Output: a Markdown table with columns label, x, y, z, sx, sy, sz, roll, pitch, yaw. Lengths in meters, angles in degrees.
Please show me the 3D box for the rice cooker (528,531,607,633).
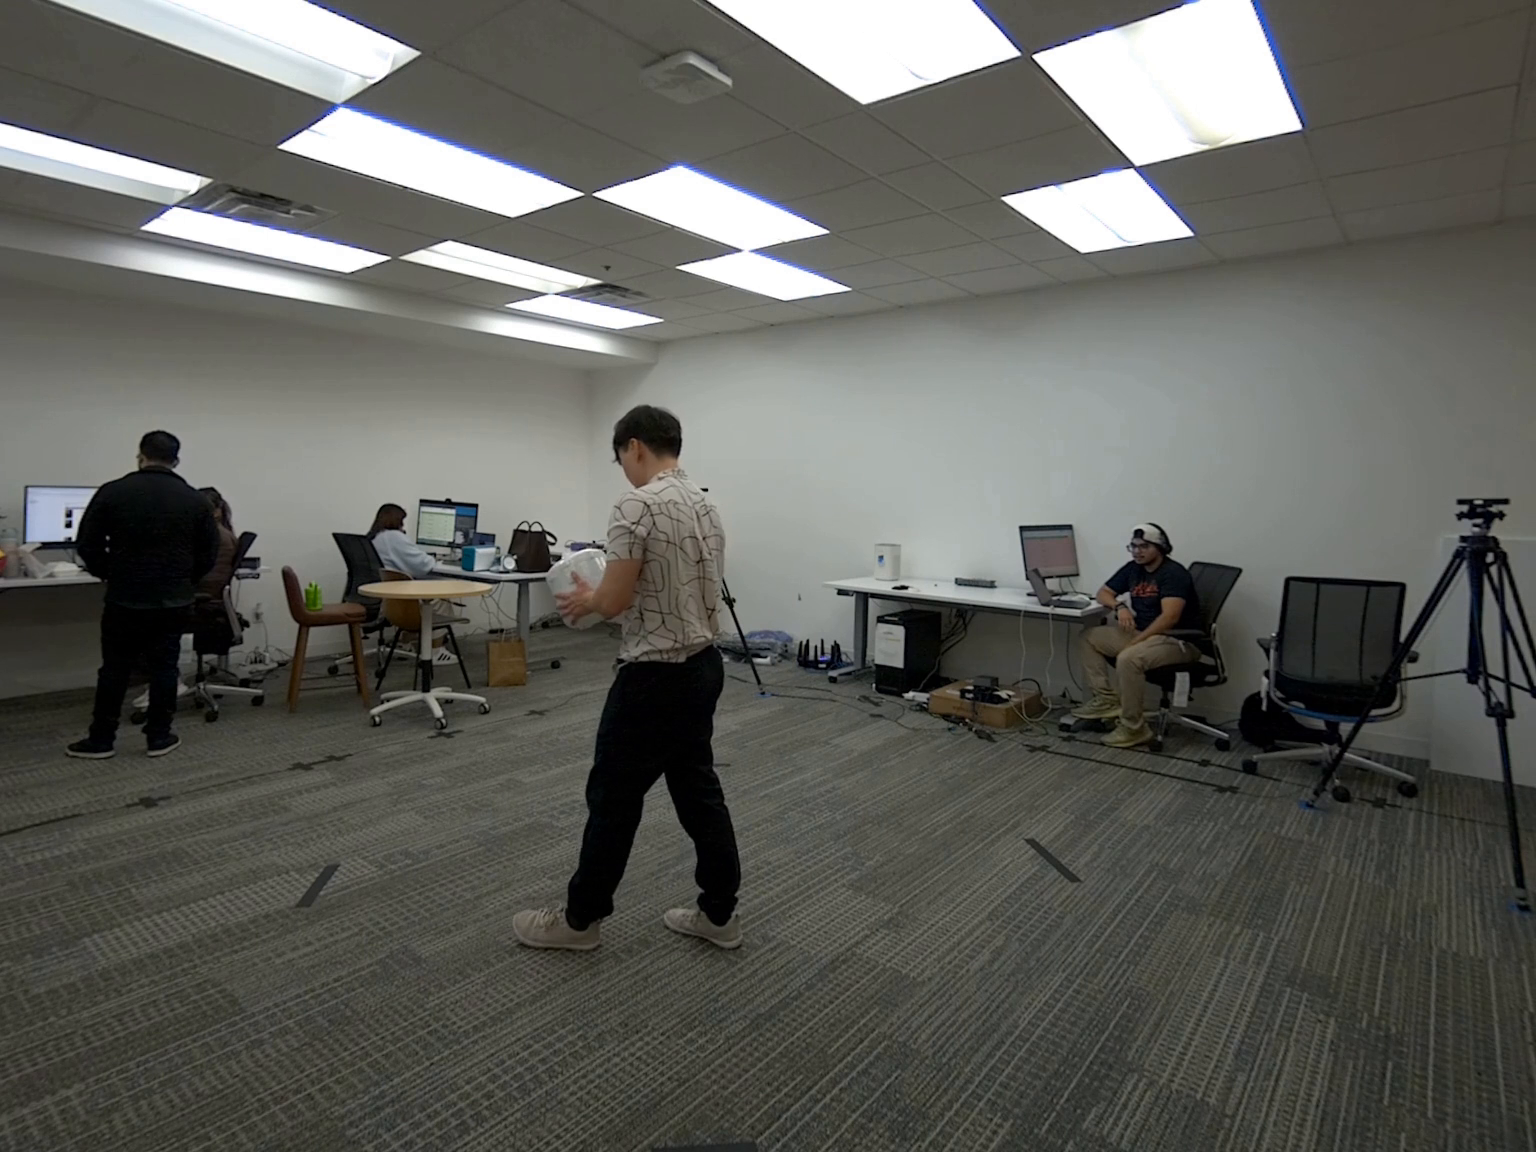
| label | x | y | z | sx | sy | sz | roll | pitch | yaw |
| --- | --- | --- | --- | --- | --- | --- | --- | --- | --- |
| rice cooker | -0.605 | 0.024 | 2.756 | 0.218 | 0.237 | 0.216 | -29 | -12 | 4 |
